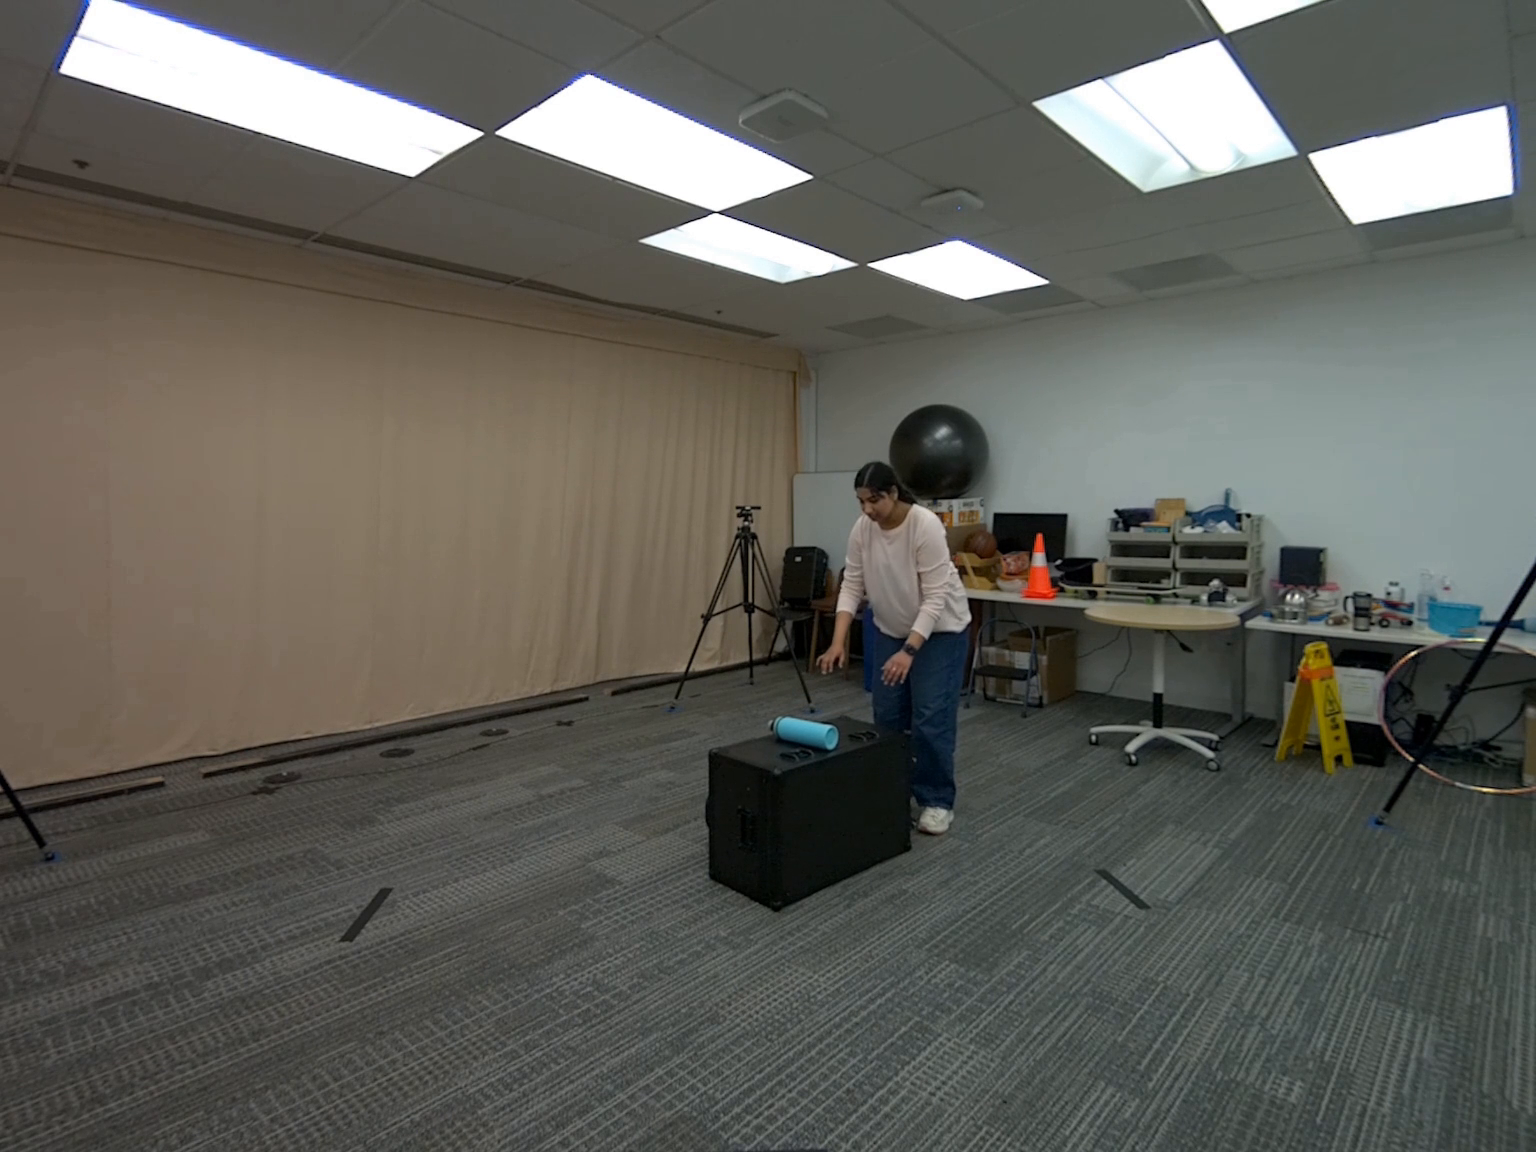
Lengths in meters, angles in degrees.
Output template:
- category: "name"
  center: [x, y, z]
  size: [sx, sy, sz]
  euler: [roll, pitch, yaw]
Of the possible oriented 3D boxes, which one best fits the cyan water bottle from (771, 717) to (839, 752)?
- category: "cyan water bottle"
  center: [0.130, 0.593, 3.217]
  size: [0.293, 0.092, 0.089]
  euler: [2, 4, 42]
